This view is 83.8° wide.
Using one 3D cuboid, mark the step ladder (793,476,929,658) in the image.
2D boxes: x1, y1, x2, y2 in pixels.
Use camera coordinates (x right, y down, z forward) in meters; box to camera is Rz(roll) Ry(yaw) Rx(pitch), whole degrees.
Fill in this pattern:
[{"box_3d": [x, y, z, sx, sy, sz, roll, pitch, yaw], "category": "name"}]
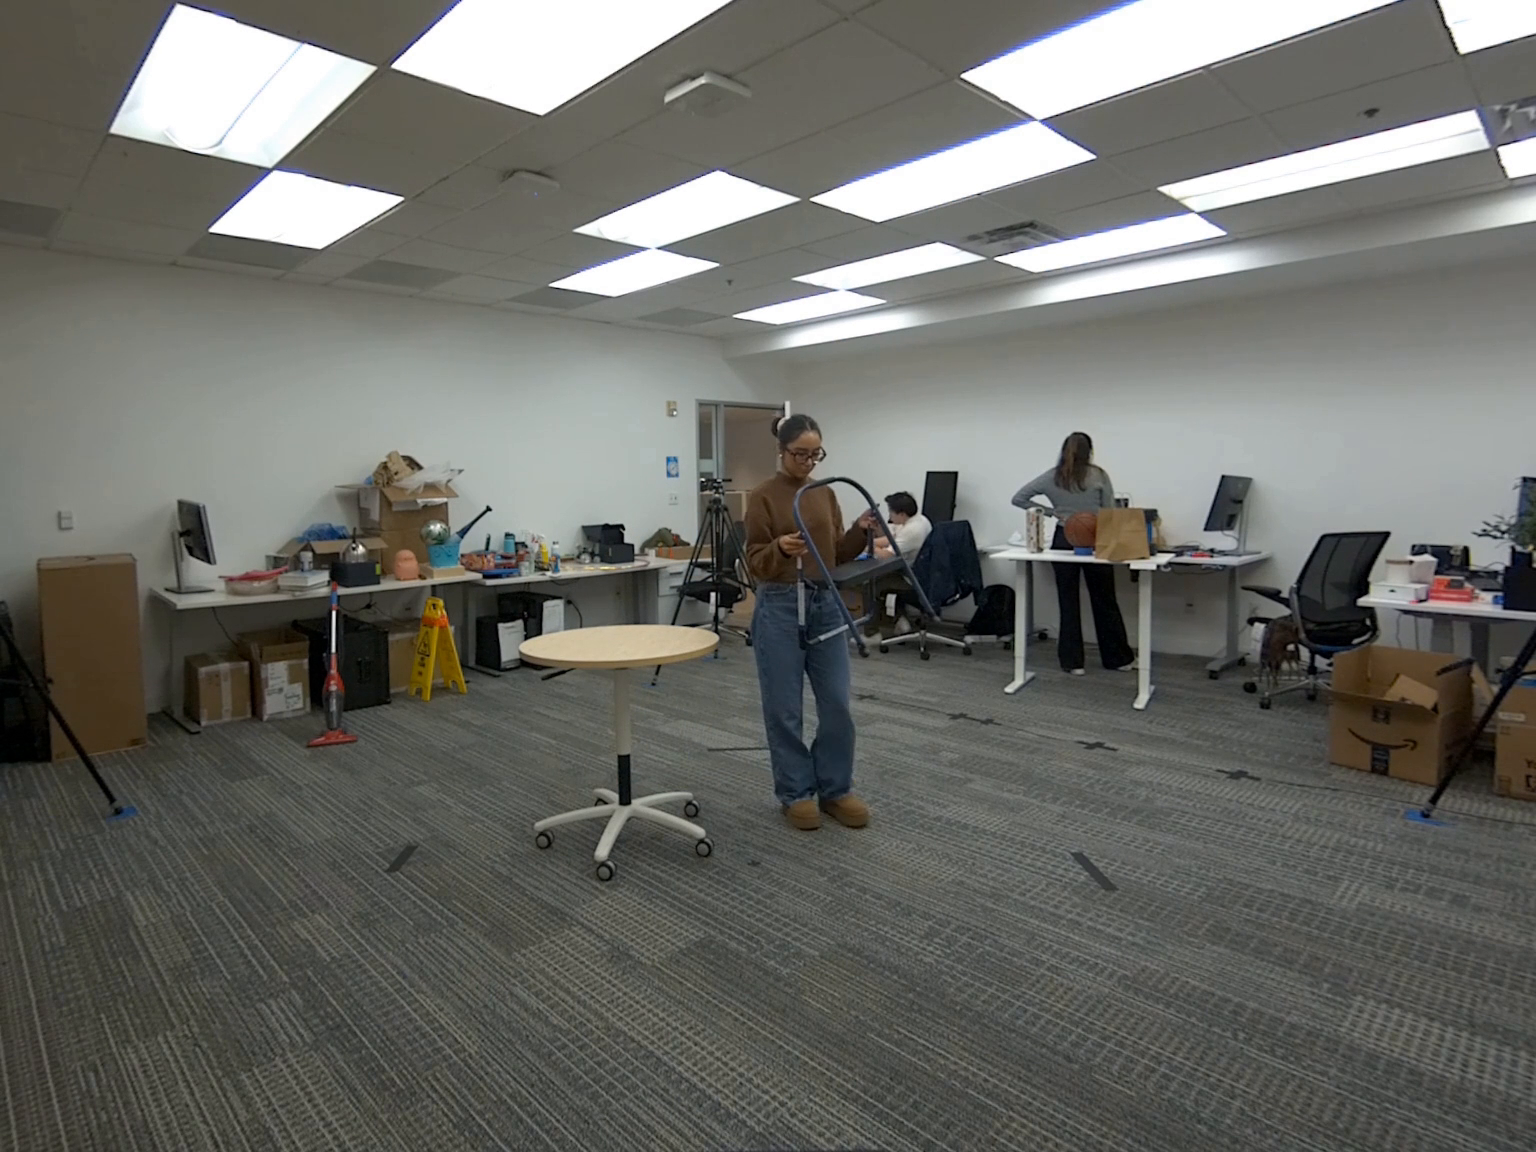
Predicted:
[{"box_3d": [0.317, -0.062, 3.187, 0.422, 0.603, 0.358, -16, 7, -40], "category": "step ladder"}]
